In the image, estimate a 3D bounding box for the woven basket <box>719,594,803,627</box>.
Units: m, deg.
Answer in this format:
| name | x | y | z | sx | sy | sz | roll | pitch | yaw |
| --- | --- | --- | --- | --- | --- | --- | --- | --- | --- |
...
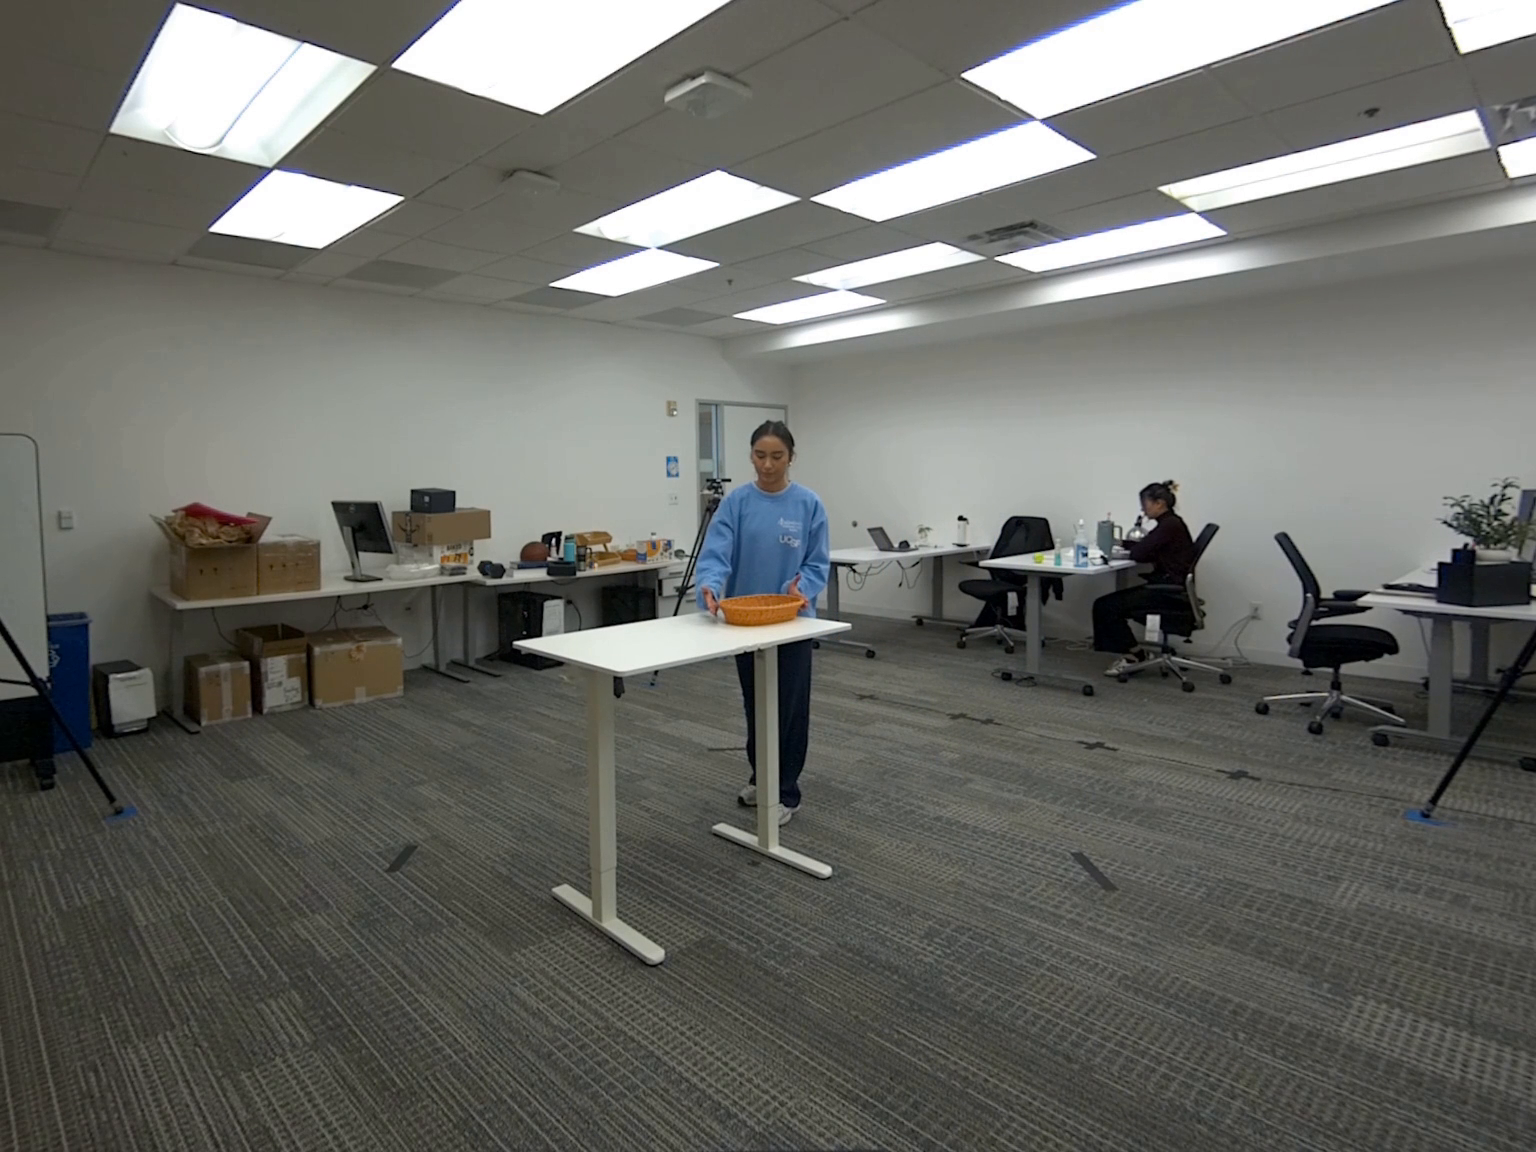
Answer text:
| name | x | y | z | sx | sy | sz | roll | pitch | yaw |
| --- | --- | --- | --- | --- | --- | --- | --- | --- | --- |
| woven basket | -0.037 | 0.129 | 3.131 | 0.260 | 0.073 | 0.341 | 6 | 9 | 39 |
